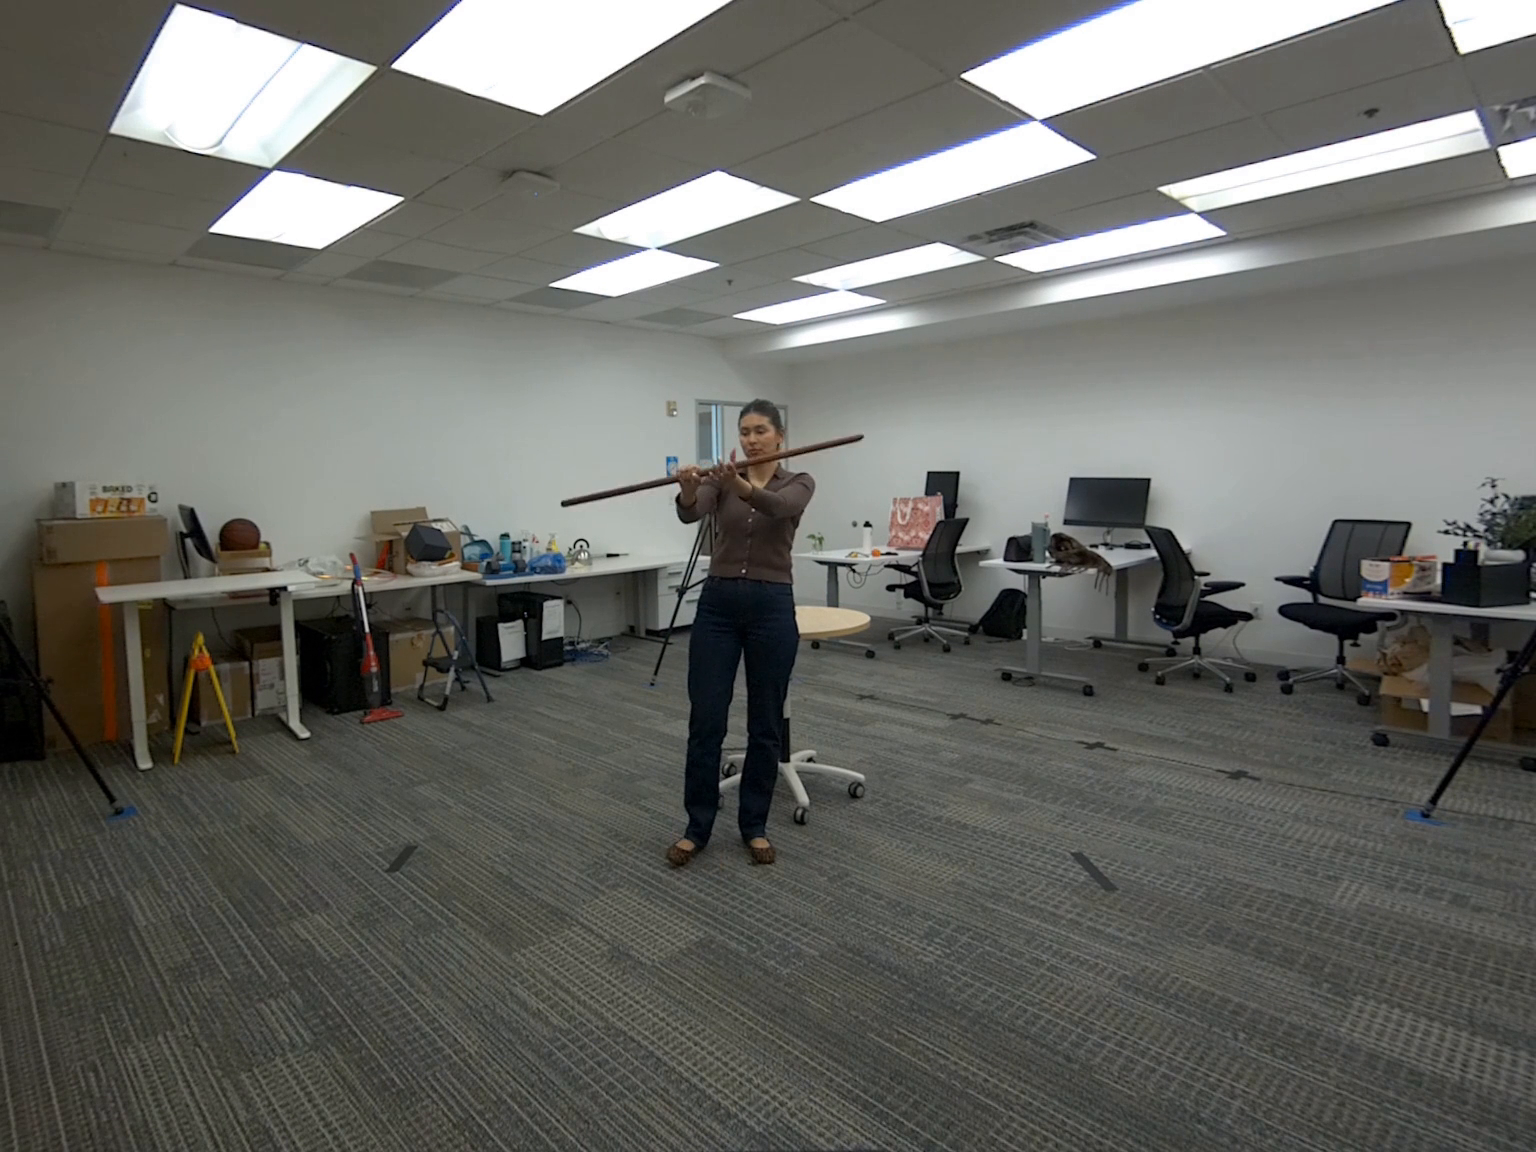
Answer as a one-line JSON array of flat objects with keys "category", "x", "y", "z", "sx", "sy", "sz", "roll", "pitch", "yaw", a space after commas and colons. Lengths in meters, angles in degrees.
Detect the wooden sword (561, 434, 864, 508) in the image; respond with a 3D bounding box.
[{"category": "wooden sword", "x": -0.210, "y": -0.324, "z": 2.696, "sx": 1.039, "sy": 0.051, "sz": 0.024, "roll": -9, "pitch": 10, "yaw": 18}]
